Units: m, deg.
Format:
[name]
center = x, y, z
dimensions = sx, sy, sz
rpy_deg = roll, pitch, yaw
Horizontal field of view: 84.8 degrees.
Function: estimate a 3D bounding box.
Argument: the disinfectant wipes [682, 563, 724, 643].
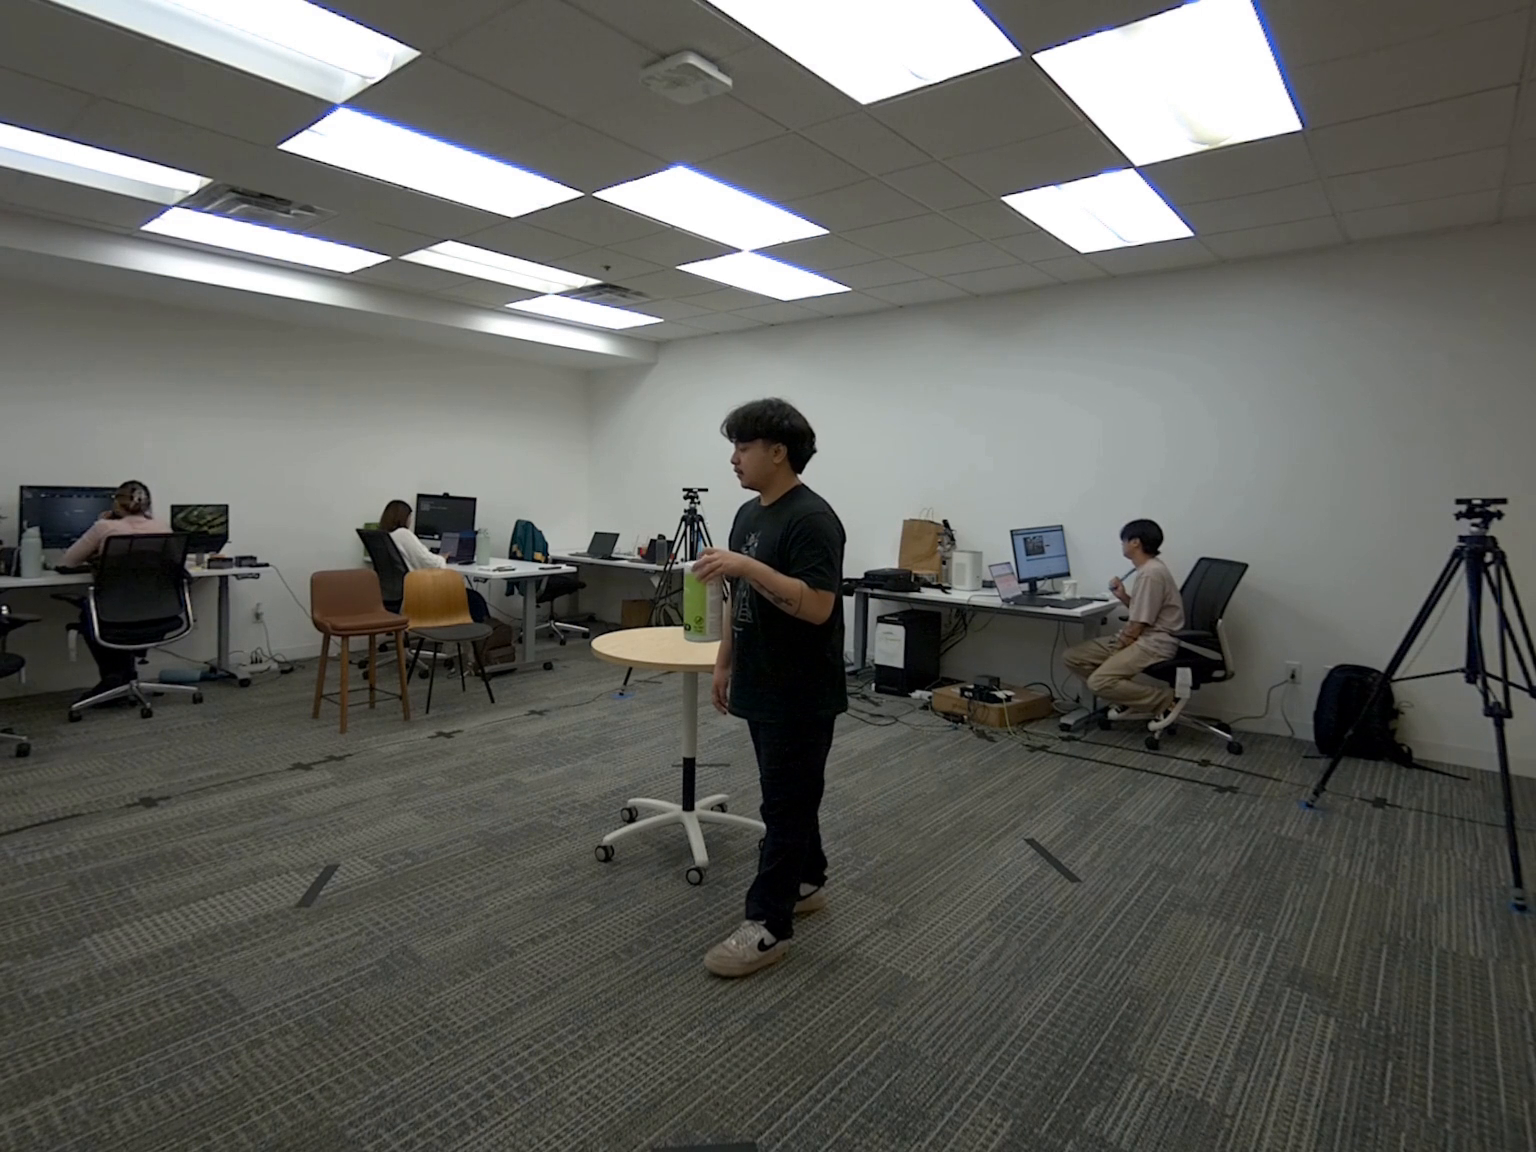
[disinfectant wipes]
center = -0.181, 0.066, 2.364
dimensions = 0.118, 0.216, 0.118
rpy_deg = -2, 4, -2
